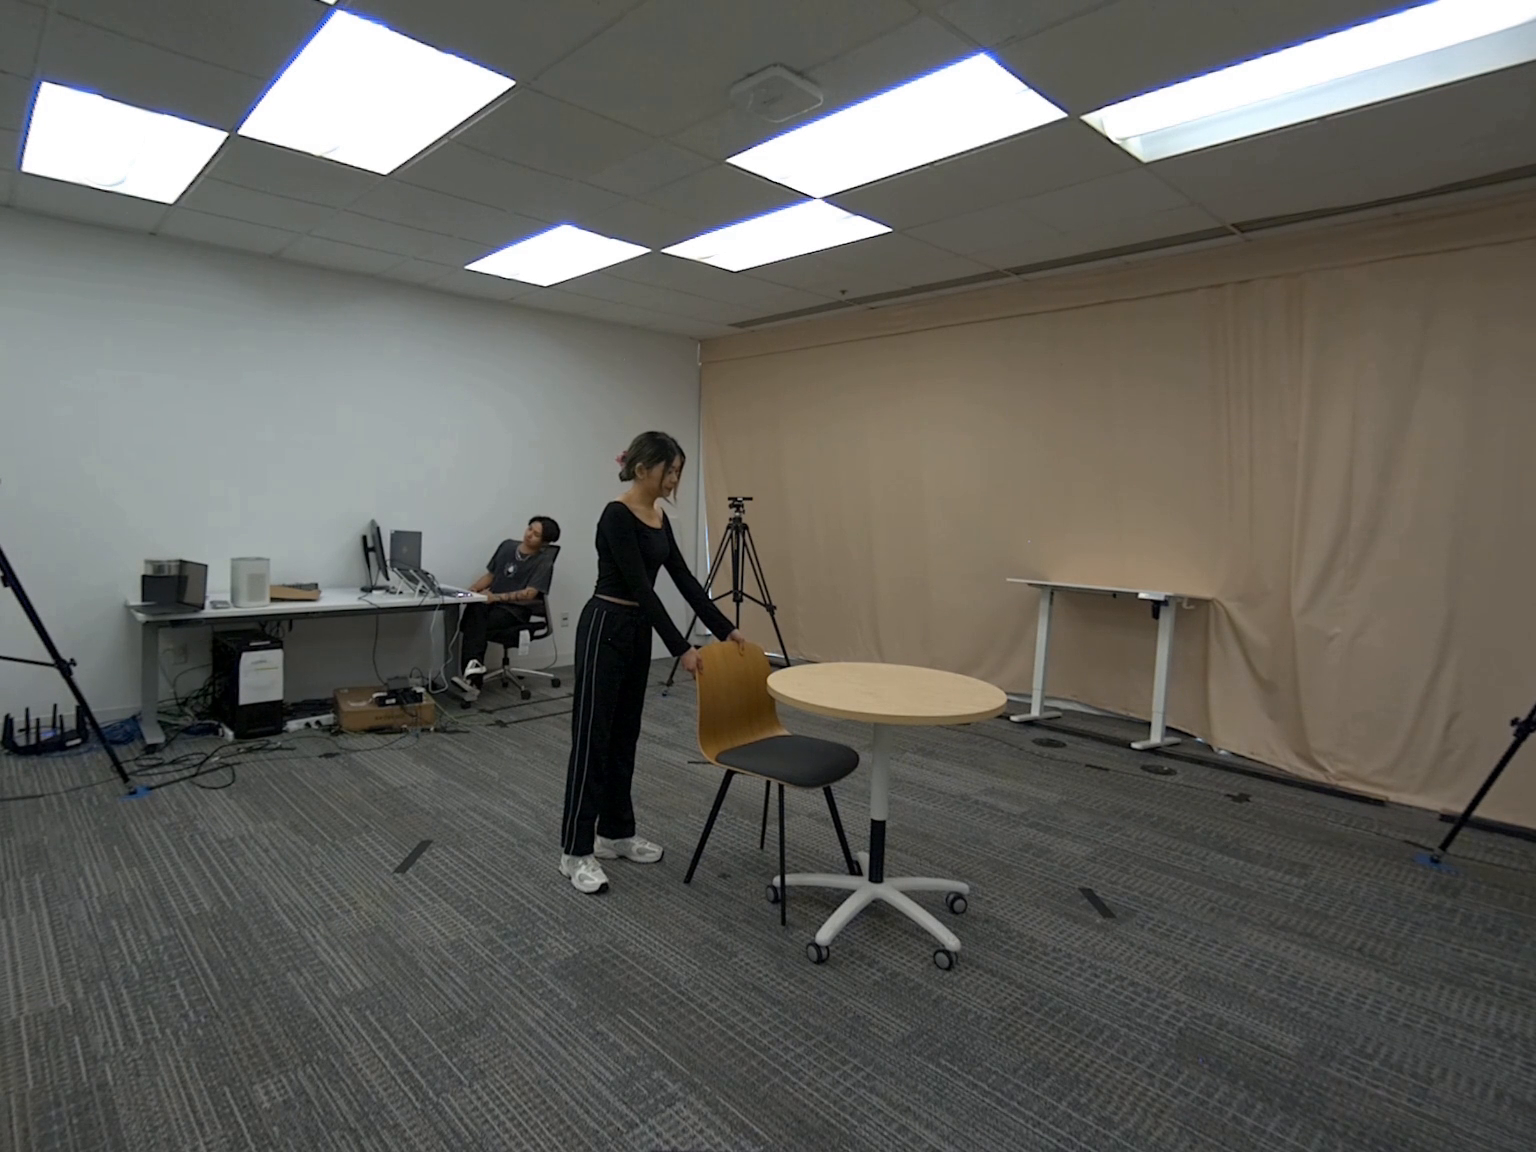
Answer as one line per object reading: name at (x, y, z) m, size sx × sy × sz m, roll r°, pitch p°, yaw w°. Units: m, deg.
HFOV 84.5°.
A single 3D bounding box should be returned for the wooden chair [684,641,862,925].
wooden chair at (0.020, 0.686, 3.027) m, size 0.535 × 0.878 × 0.467 m, roll -2°, pitch -1°, yaw 40°
